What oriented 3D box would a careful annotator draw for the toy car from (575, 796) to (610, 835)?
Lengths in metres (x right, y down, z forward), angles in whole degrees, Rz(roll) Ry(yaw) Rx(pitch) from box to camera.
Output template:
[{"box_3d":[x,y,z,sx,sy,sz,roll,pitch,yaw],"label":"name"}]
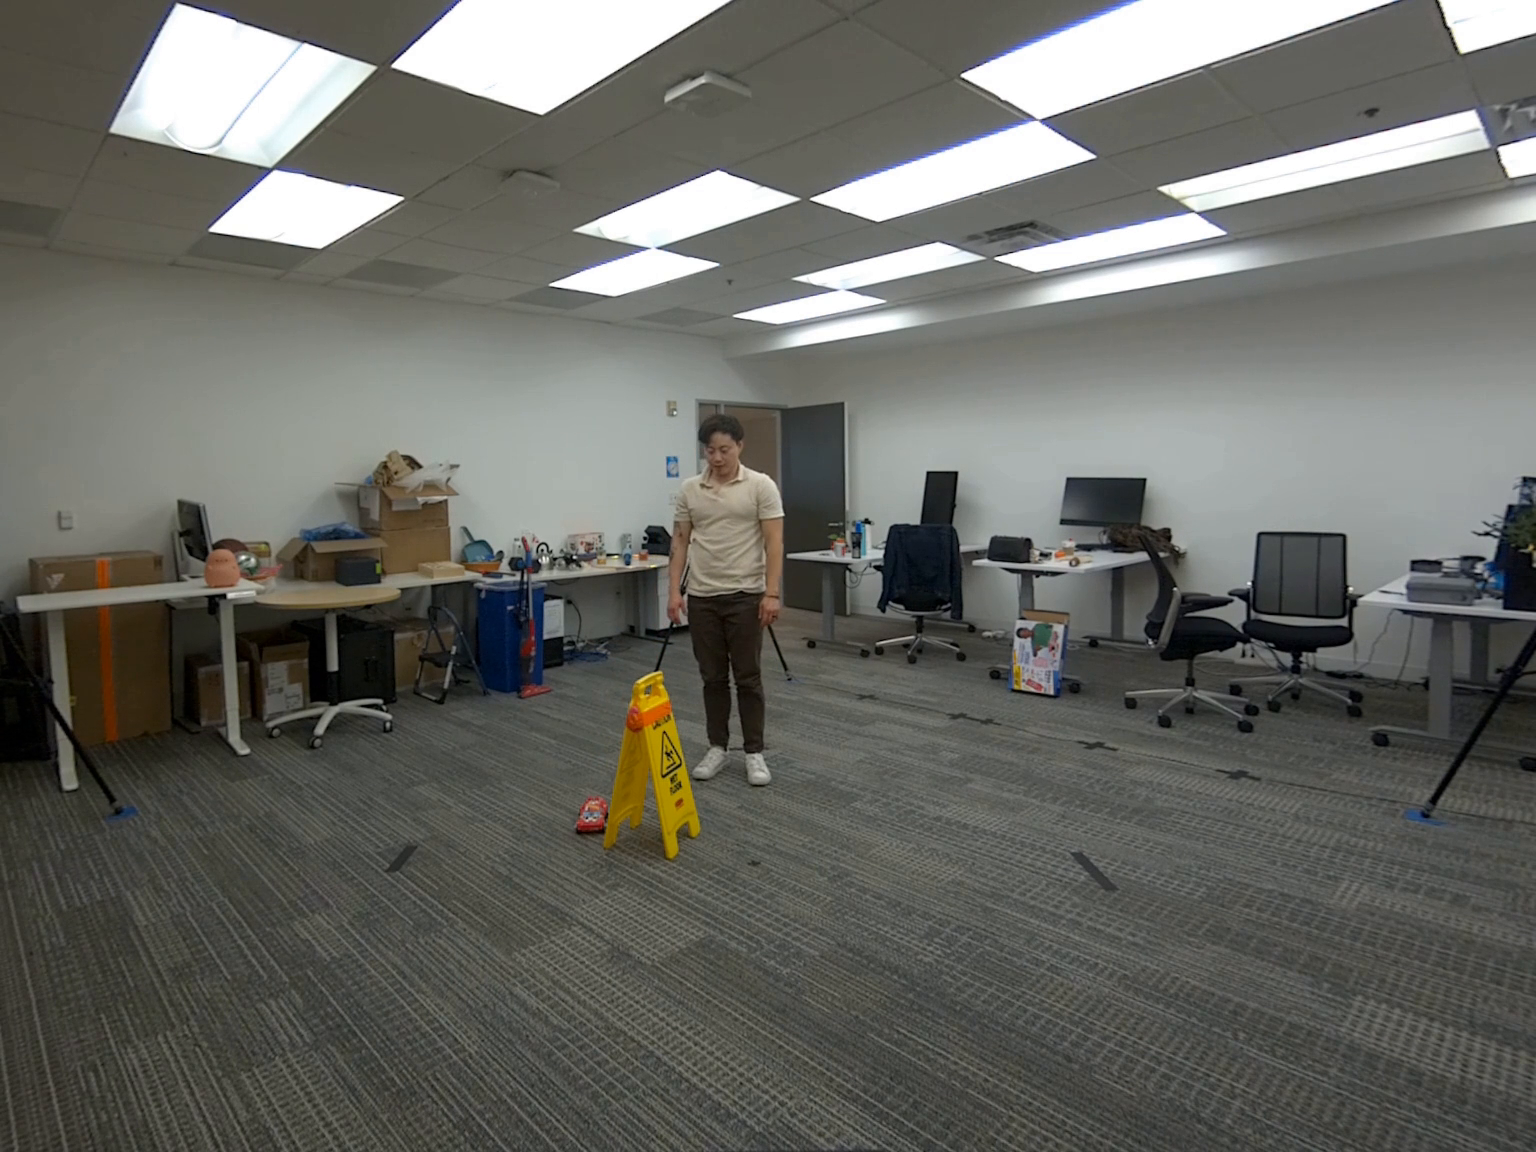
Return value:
[{"box_3d":[-0.718,0.980,3.504,0.130,0.082,0.259,-1,18,-5],"label":"toy car"}]
